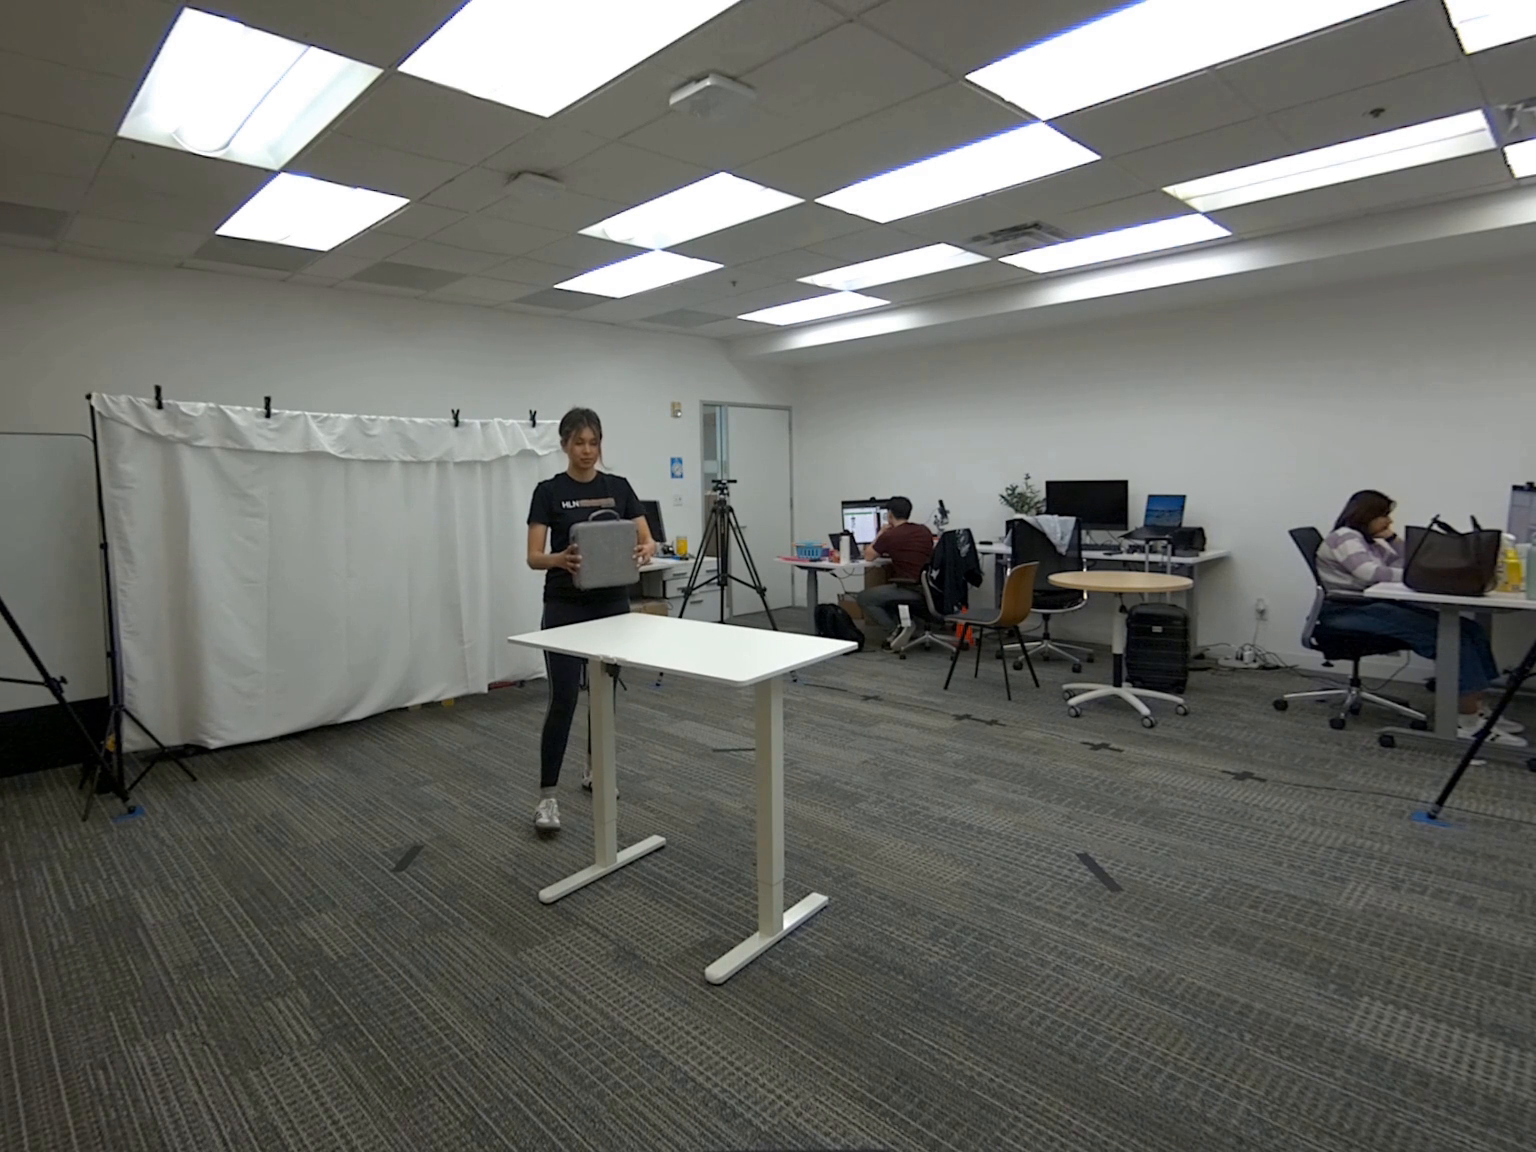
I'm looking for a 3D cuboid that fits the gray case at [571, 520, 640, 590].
[{"bbox_3d":[-0.637,-0.089,3.326,0.252,0.259,0.107,-6,6,-26],"label":"gray case"}]
